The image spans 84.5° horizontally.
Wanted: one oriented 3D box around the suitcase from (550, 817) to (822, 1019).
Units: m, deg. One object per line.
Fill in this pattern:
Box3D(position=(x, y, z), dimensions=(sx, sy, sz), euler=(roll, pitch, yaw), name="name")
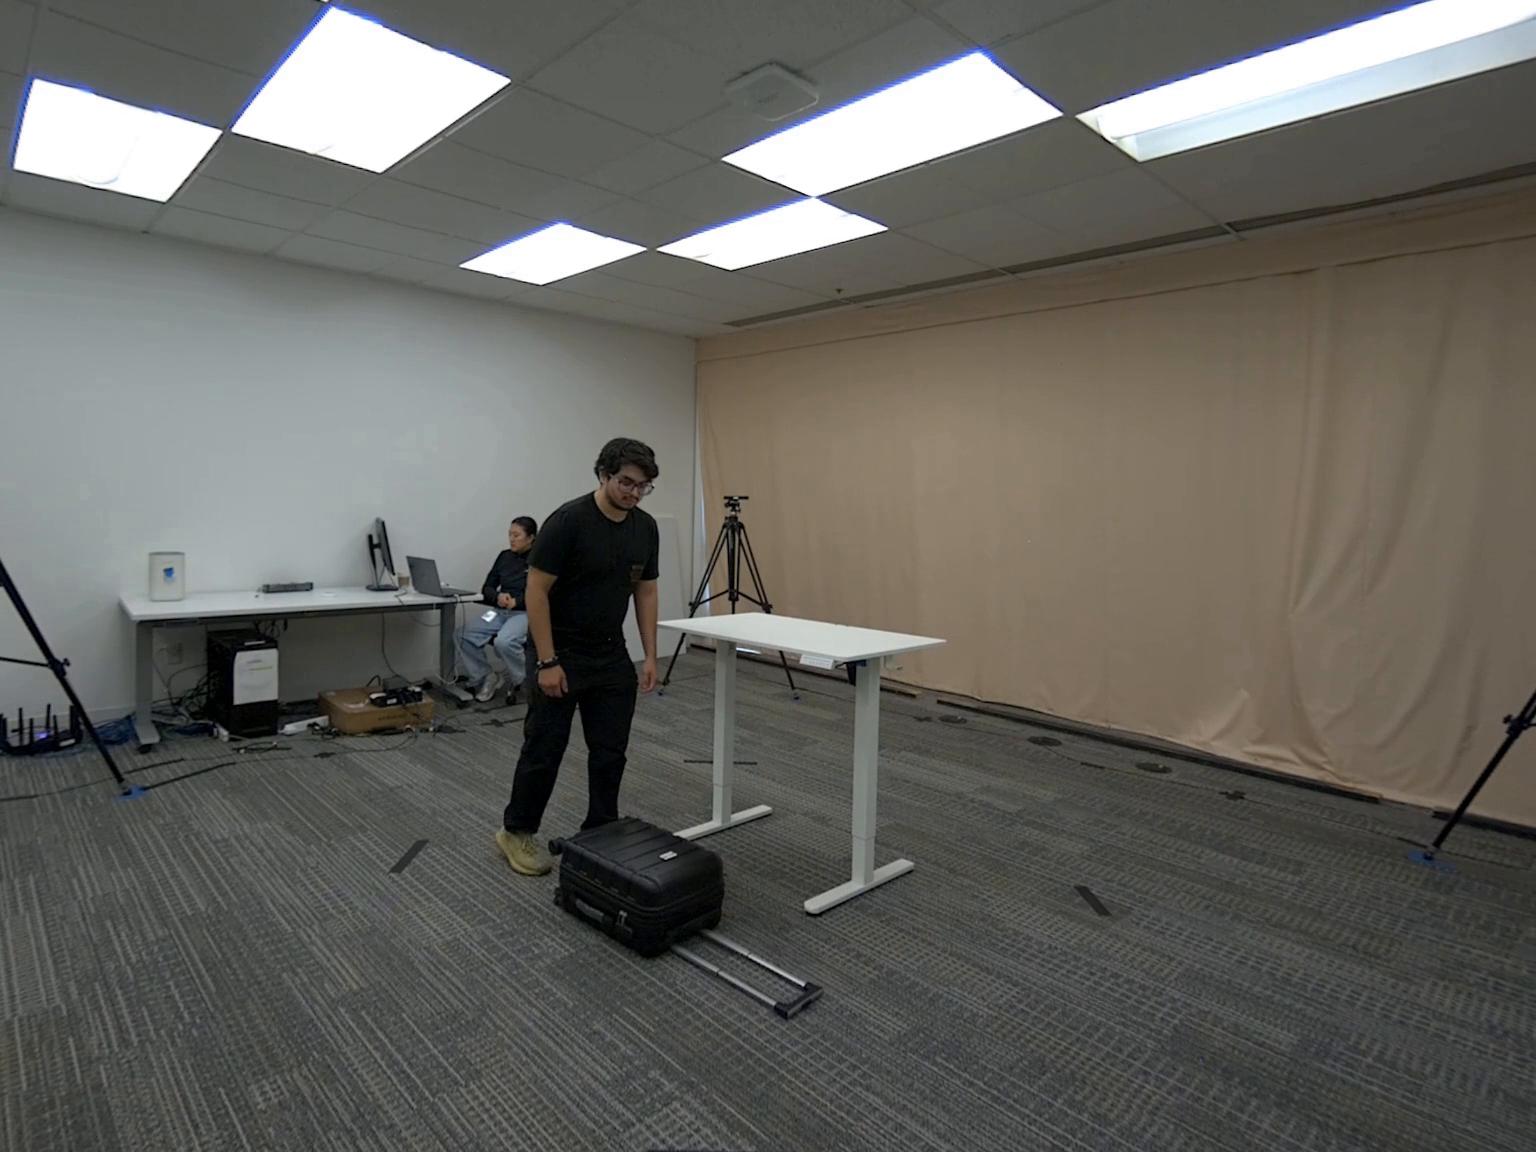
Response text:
Box3D(position=(-0.276, 1.022, 2.628), dimensions=(1.003, 0.256, 0.375), euler=(4, 4, 41), name="suitcase")
